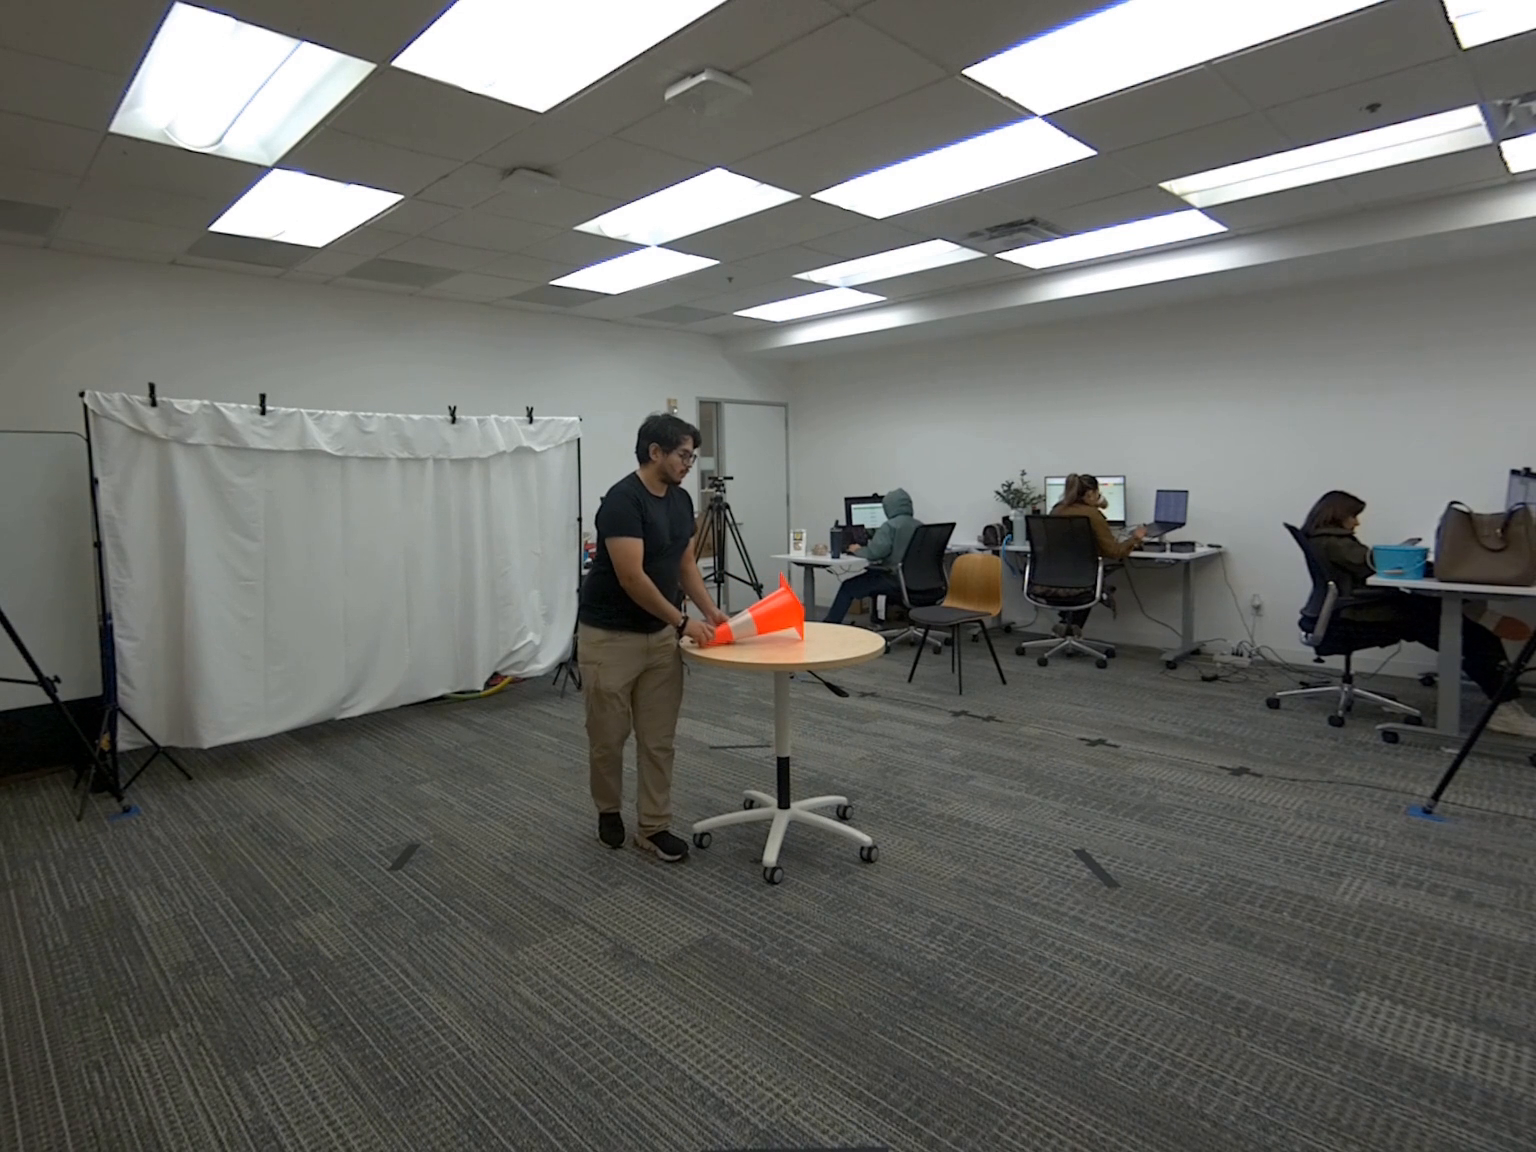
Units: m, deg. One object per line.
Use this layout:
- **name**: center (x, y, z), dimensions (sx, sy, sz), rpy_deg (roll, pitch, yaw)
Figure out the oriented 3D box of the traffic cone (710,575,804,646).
- **traffic cone**: center (-0.085, 0.179, 3.145), dimensions (0.381, 0.197, 0.213), rpy_deg (-20, 50, -10)
